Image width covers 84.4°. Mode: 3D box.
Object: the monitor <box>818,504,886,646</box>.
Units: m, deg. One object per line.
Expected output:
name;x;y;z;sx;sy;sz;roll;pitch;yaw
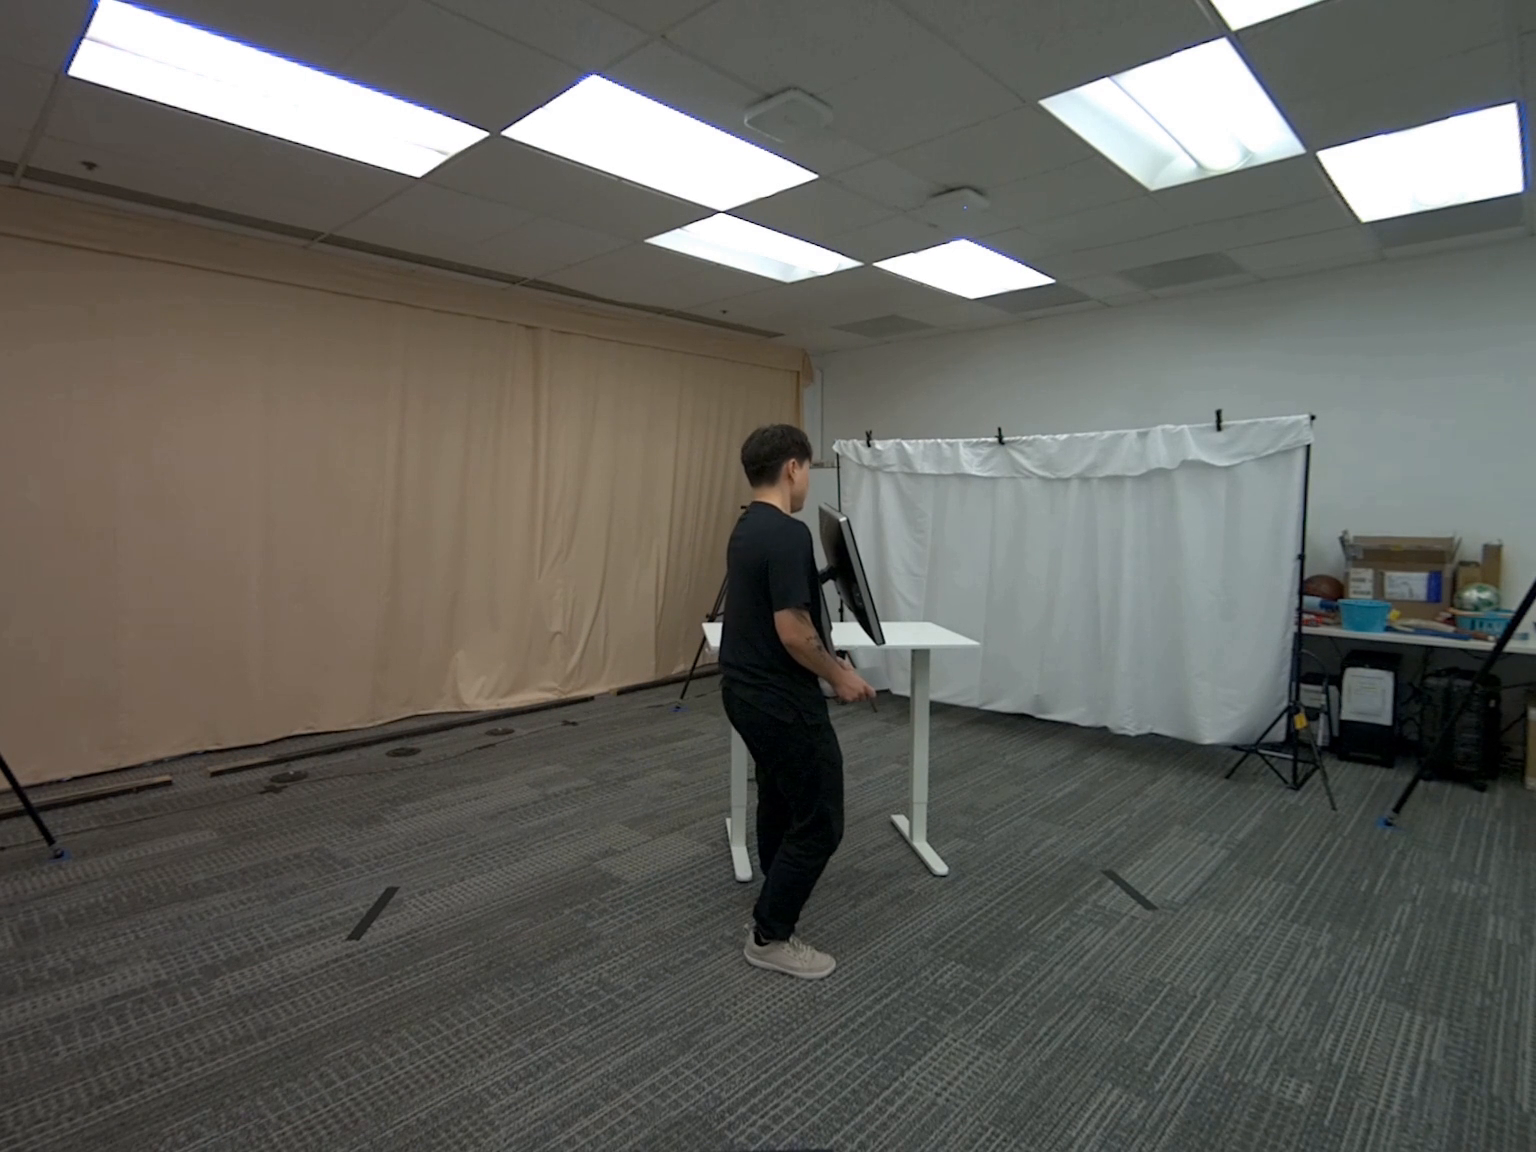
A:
monitor;0.224;0.071;2.542;0.187;0.519;0.543;-7;9;-2
